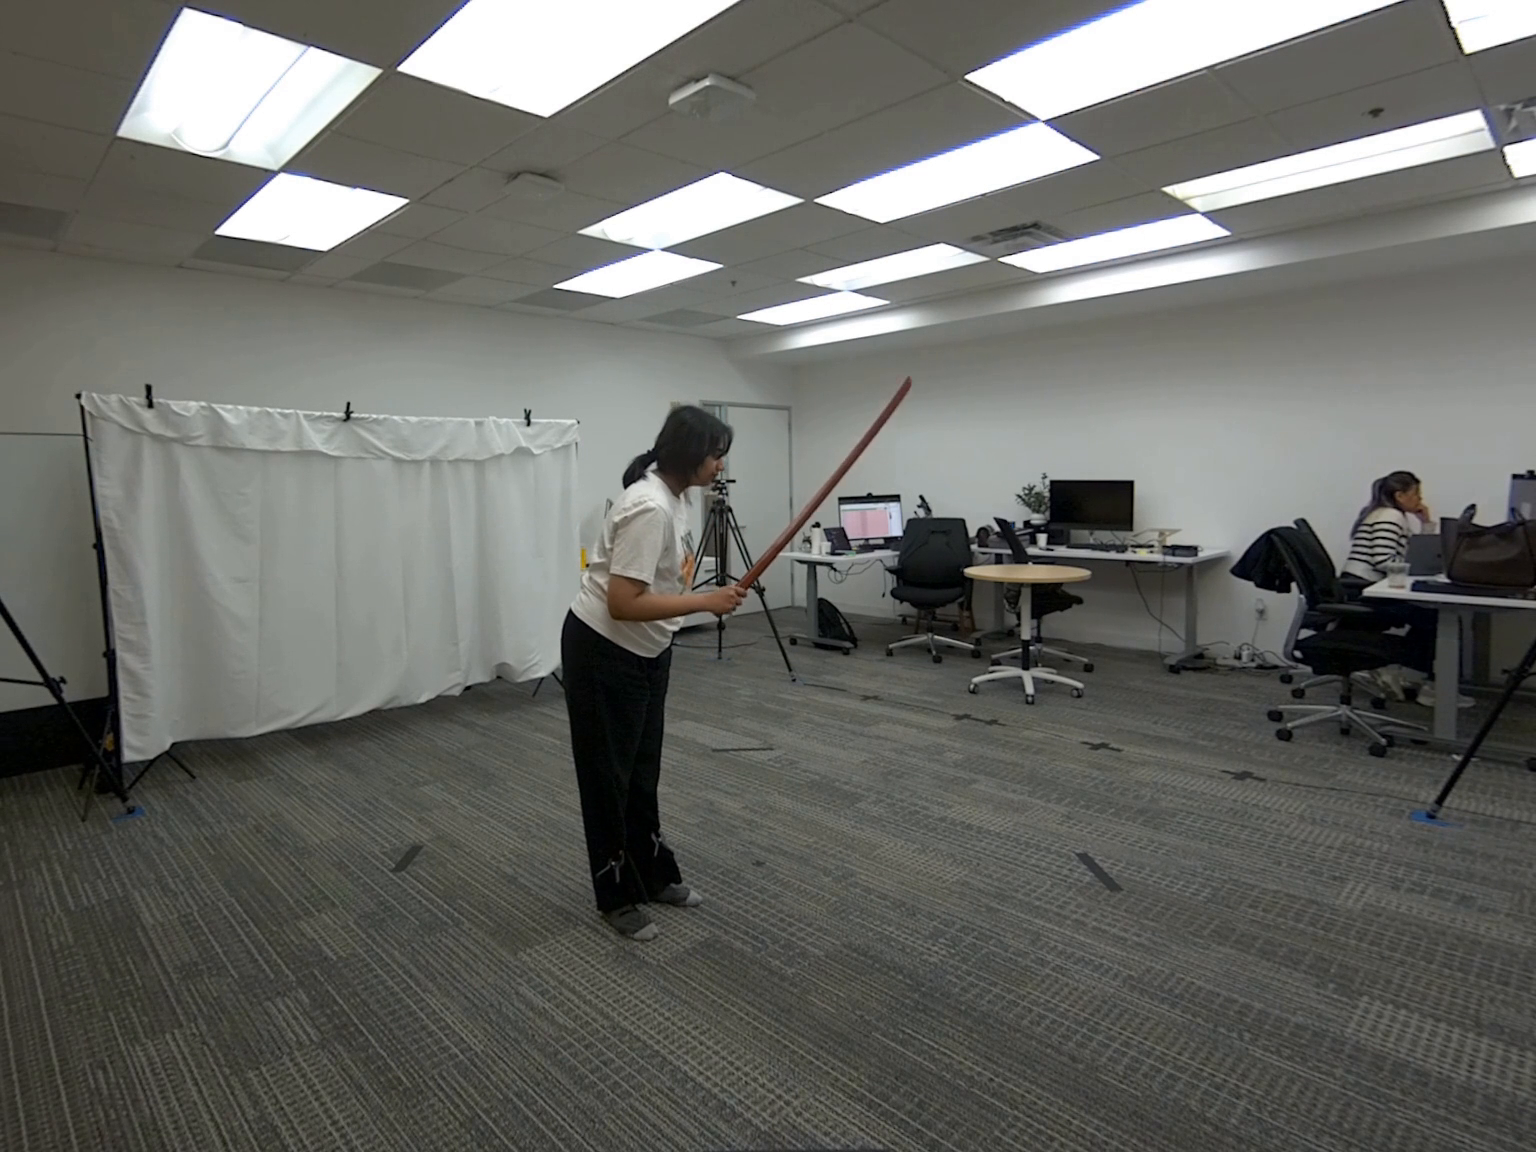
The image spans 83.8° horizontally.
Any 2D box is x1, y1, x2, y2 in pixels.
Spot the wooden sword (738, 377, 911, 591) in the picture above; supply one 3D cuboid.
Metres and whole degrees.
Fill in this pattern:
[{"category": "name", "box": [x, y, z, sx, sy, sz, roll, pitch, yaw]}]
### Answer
[{"category": "wooden sword", "box": [0.163, -0.263, 2.698, 0.050, 1.026, 0.024, 42, -14, -12]}]
